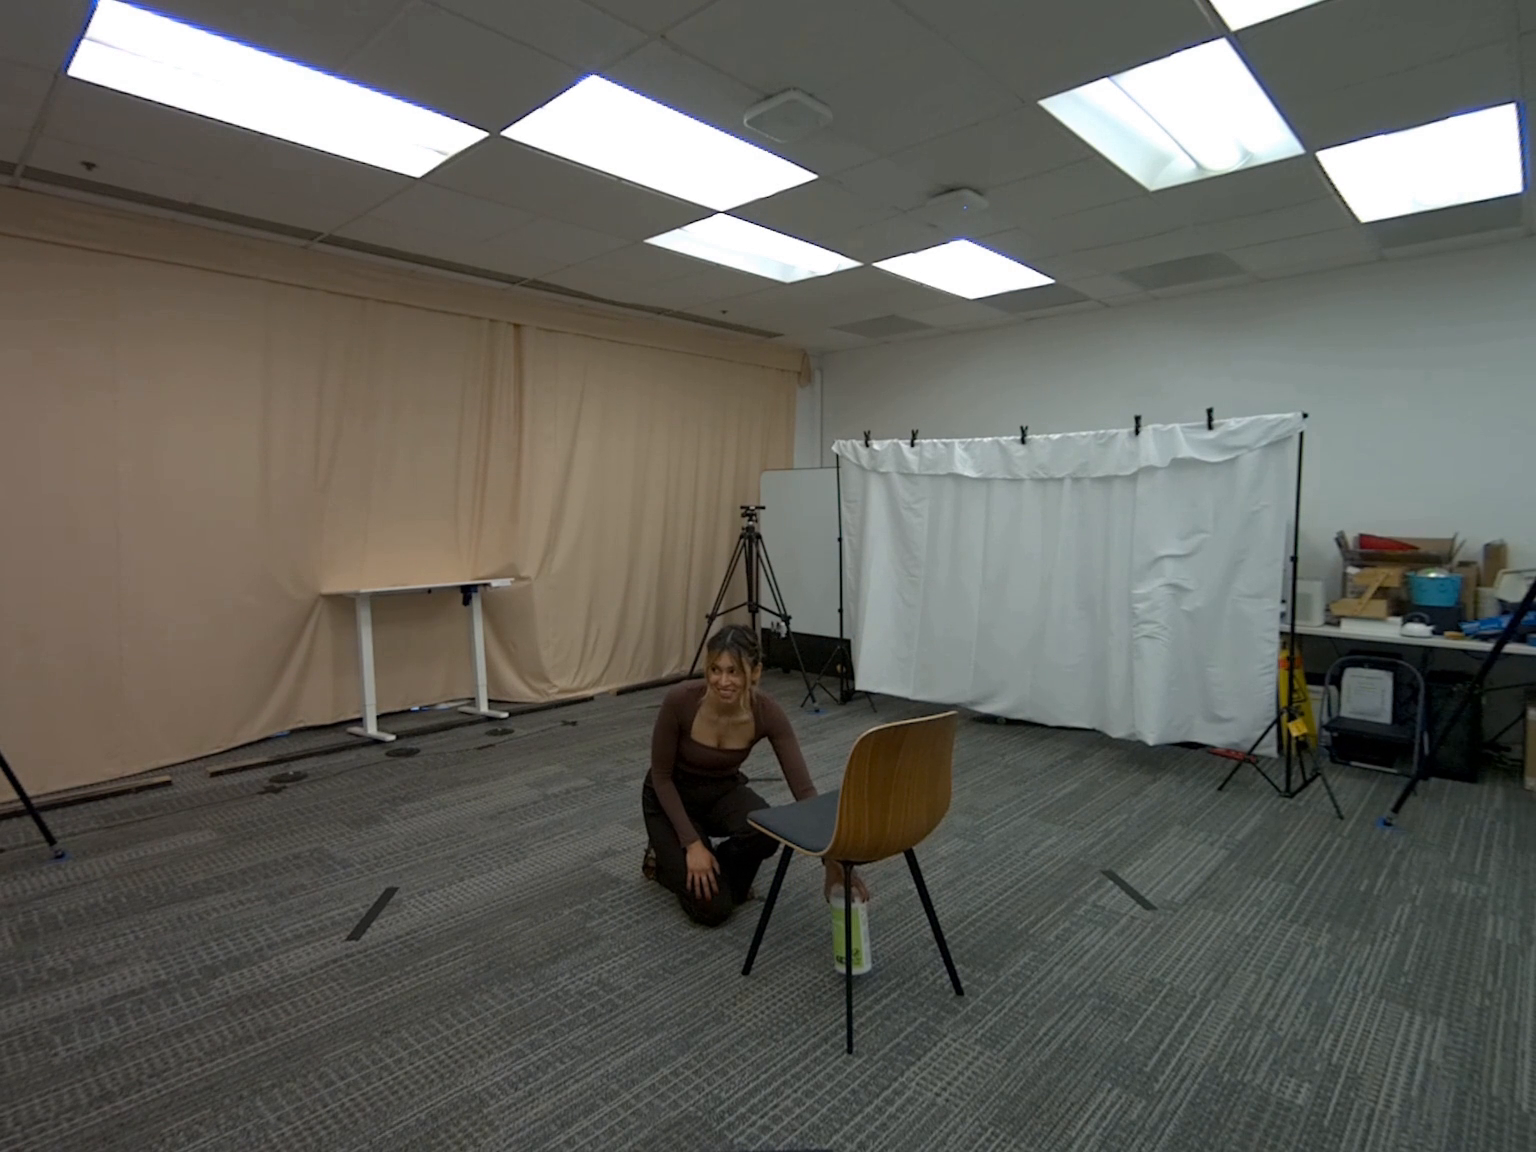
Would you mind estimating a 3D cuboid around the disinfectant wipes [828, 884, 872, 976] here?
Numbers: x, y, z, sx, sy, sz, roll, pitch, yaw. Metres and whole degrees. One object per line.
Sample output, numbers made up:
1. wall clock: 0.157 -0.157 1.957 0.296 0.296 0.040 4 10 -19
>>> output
1. disinfectant wipes: 0.250 1.059 2.484 0.117 0.218 0.117 -4 -6 -2
